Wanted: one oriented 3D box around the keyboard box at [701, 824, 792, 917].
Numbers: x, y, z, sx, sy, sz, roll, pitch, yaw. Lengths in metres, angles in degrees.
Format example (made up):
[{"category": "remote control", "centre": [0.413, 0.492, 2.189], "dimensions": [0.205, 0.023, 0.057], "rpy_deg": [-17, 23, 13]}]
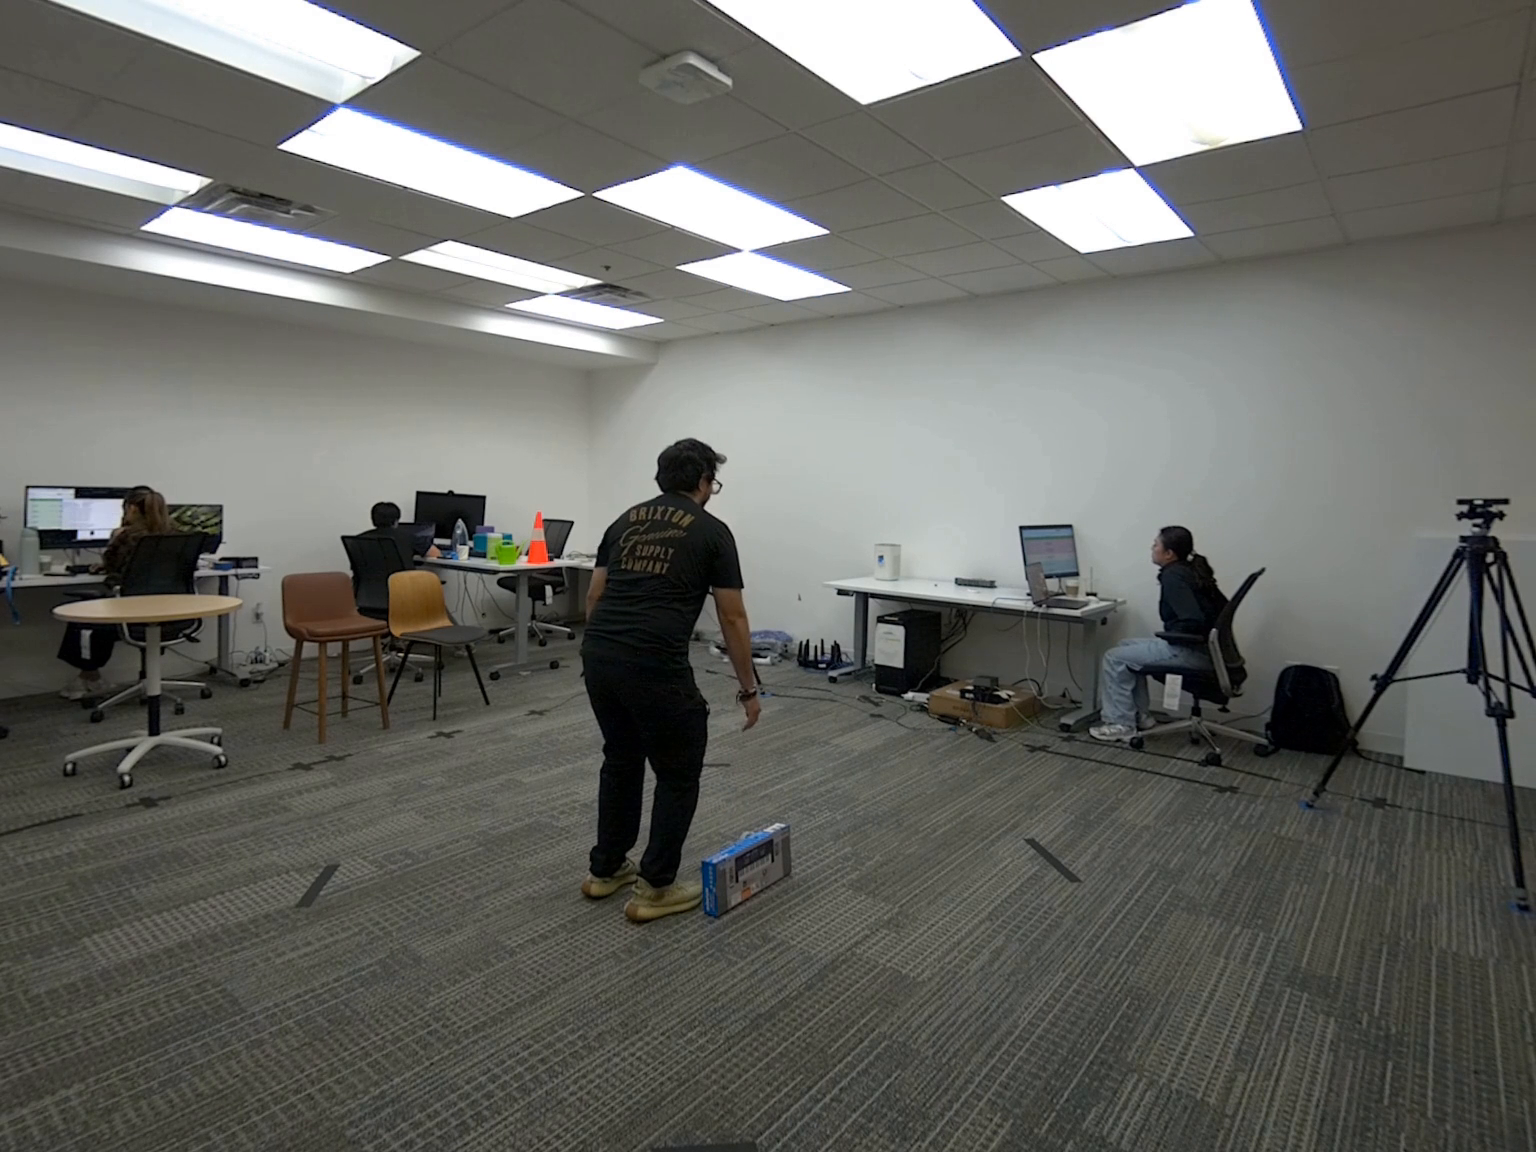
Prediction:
[{"category": "keyboard box", "centre": [-0.072, 1.007, 2.933], "dimensions": [0.061, 0.176, 0.424], "rpy_deg": [-3, 1, 36]}]
